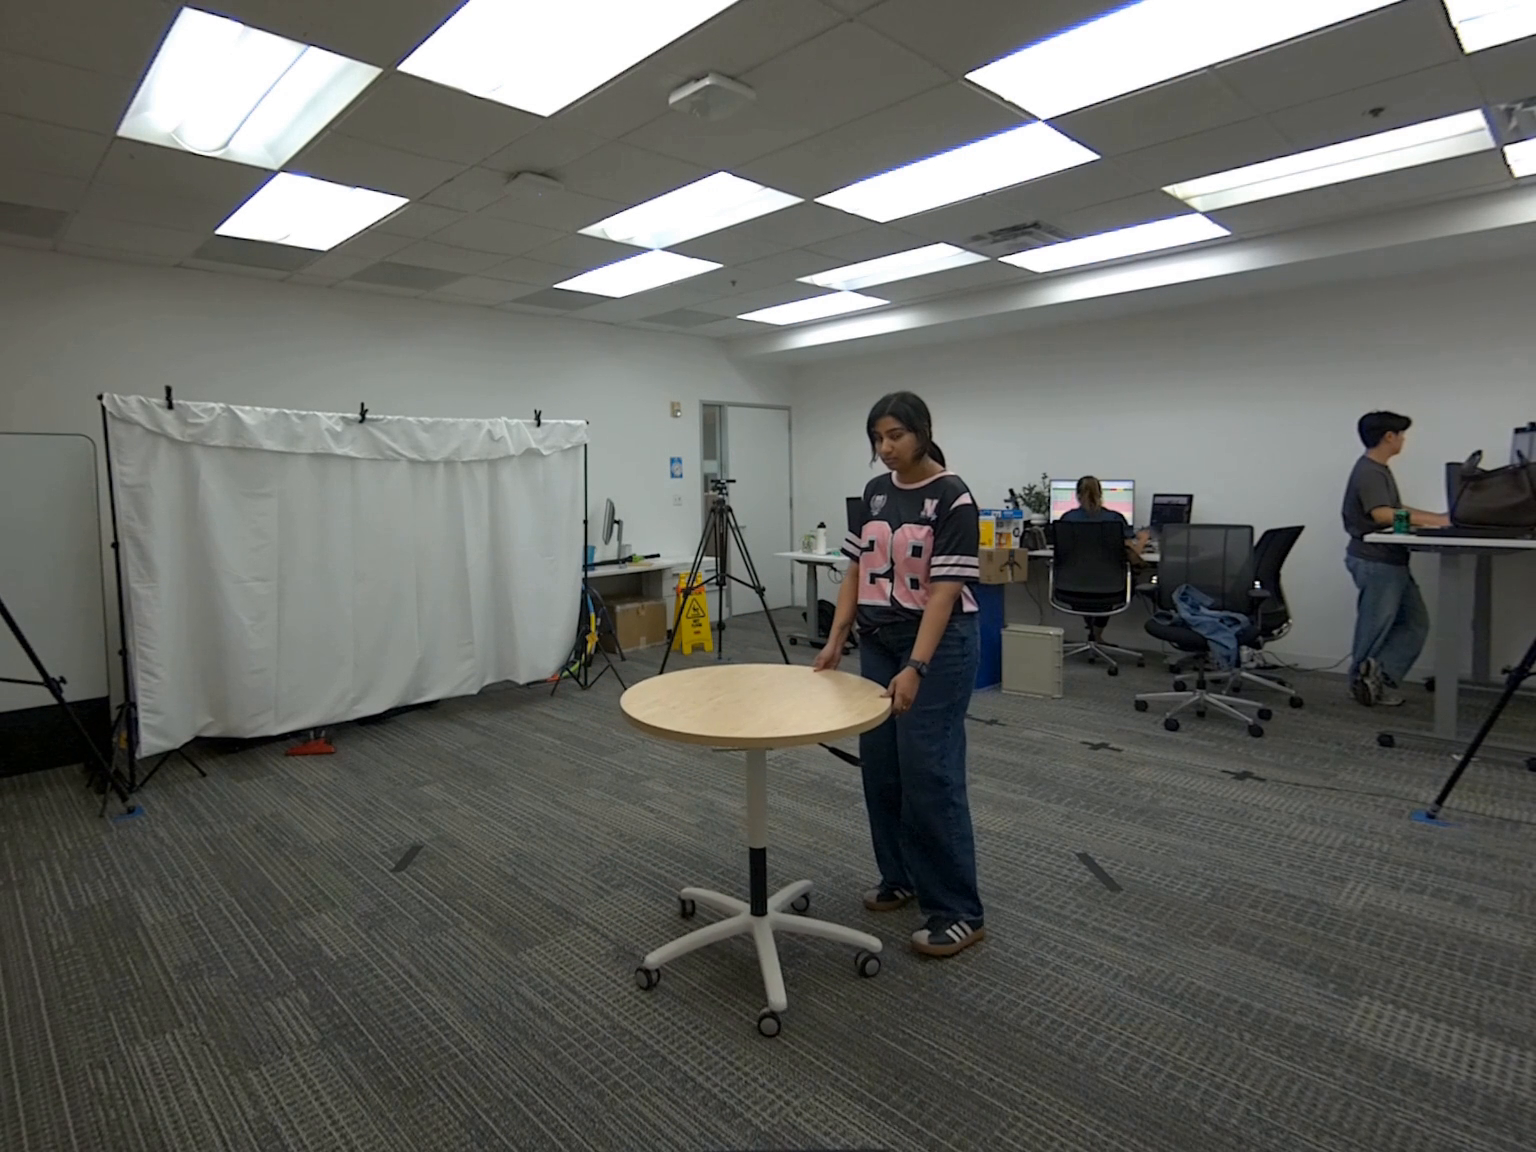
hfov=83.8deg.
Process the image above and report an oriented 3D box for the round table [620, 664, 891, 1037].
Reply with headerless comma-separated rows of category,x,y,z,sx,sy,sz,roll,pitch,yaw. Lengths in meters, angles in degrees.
round table,-0.027,0.729,2.471,0.763,0.790,0.769,-1,6,-2
